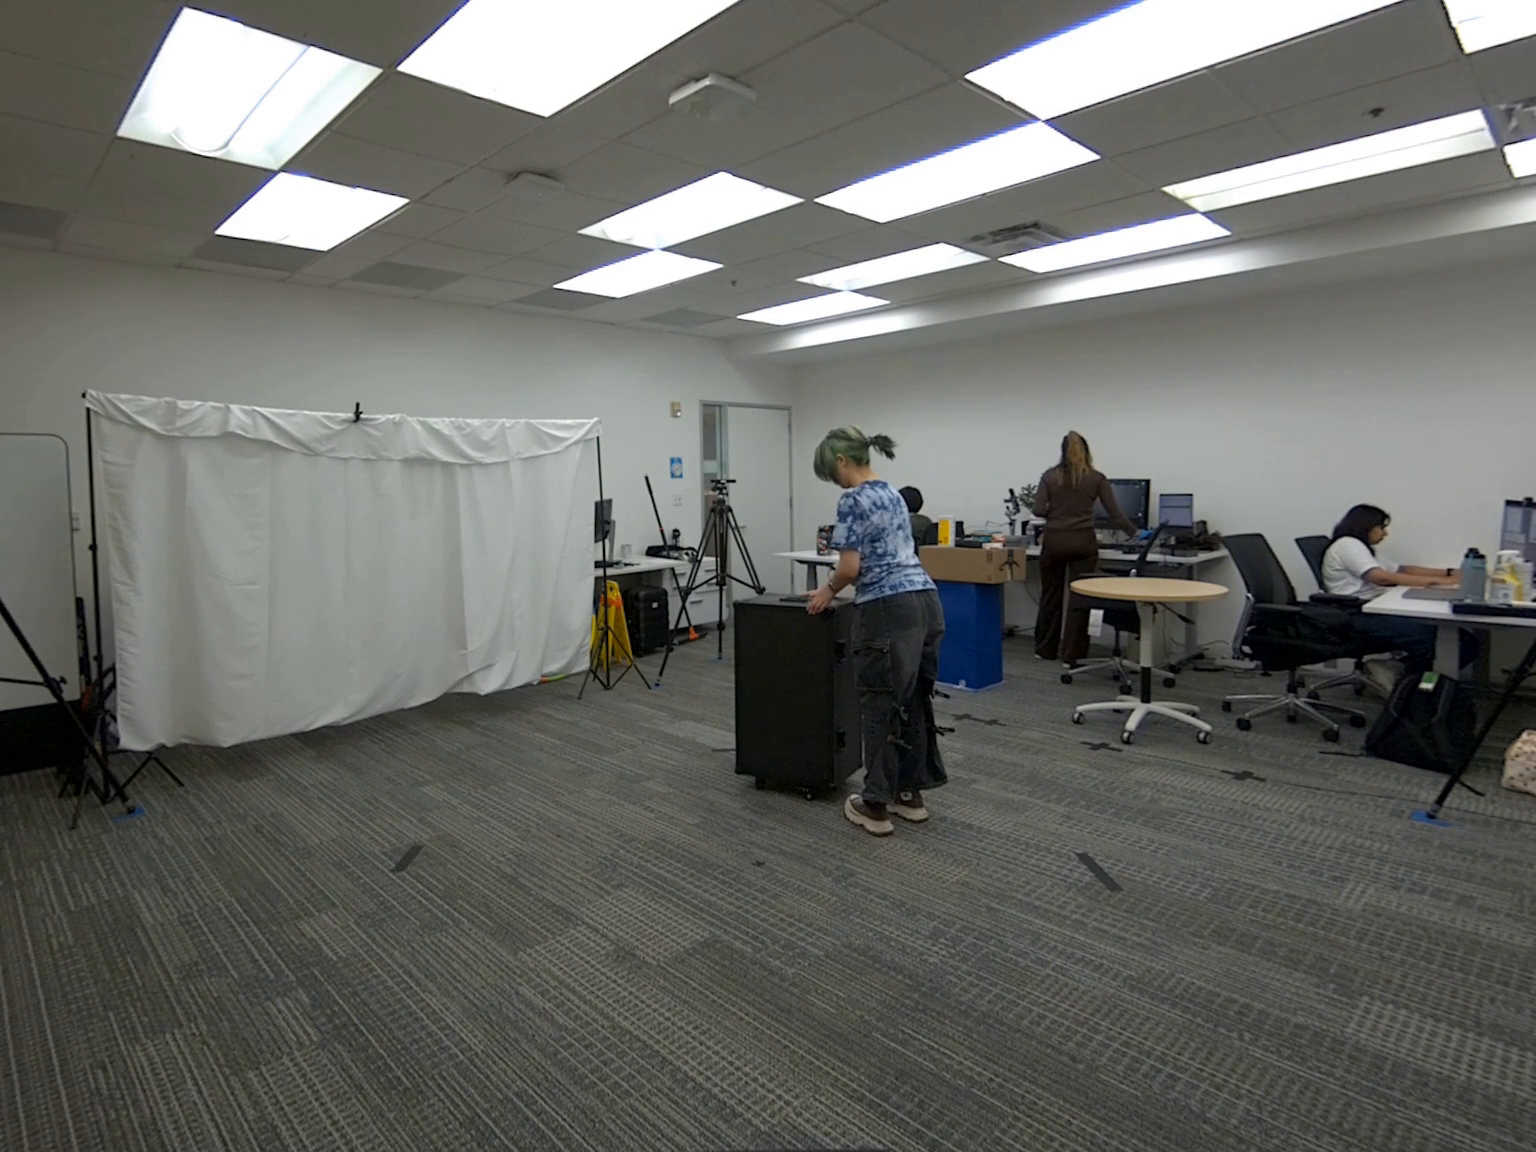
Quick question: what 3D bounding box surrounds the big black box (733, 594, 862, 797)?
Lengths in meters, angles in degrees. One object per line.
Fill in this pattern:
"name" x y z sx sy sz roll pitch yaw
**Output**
"big black box" 0.141 0.530 3.897 0.534 0.859 0.387 2 3 28
